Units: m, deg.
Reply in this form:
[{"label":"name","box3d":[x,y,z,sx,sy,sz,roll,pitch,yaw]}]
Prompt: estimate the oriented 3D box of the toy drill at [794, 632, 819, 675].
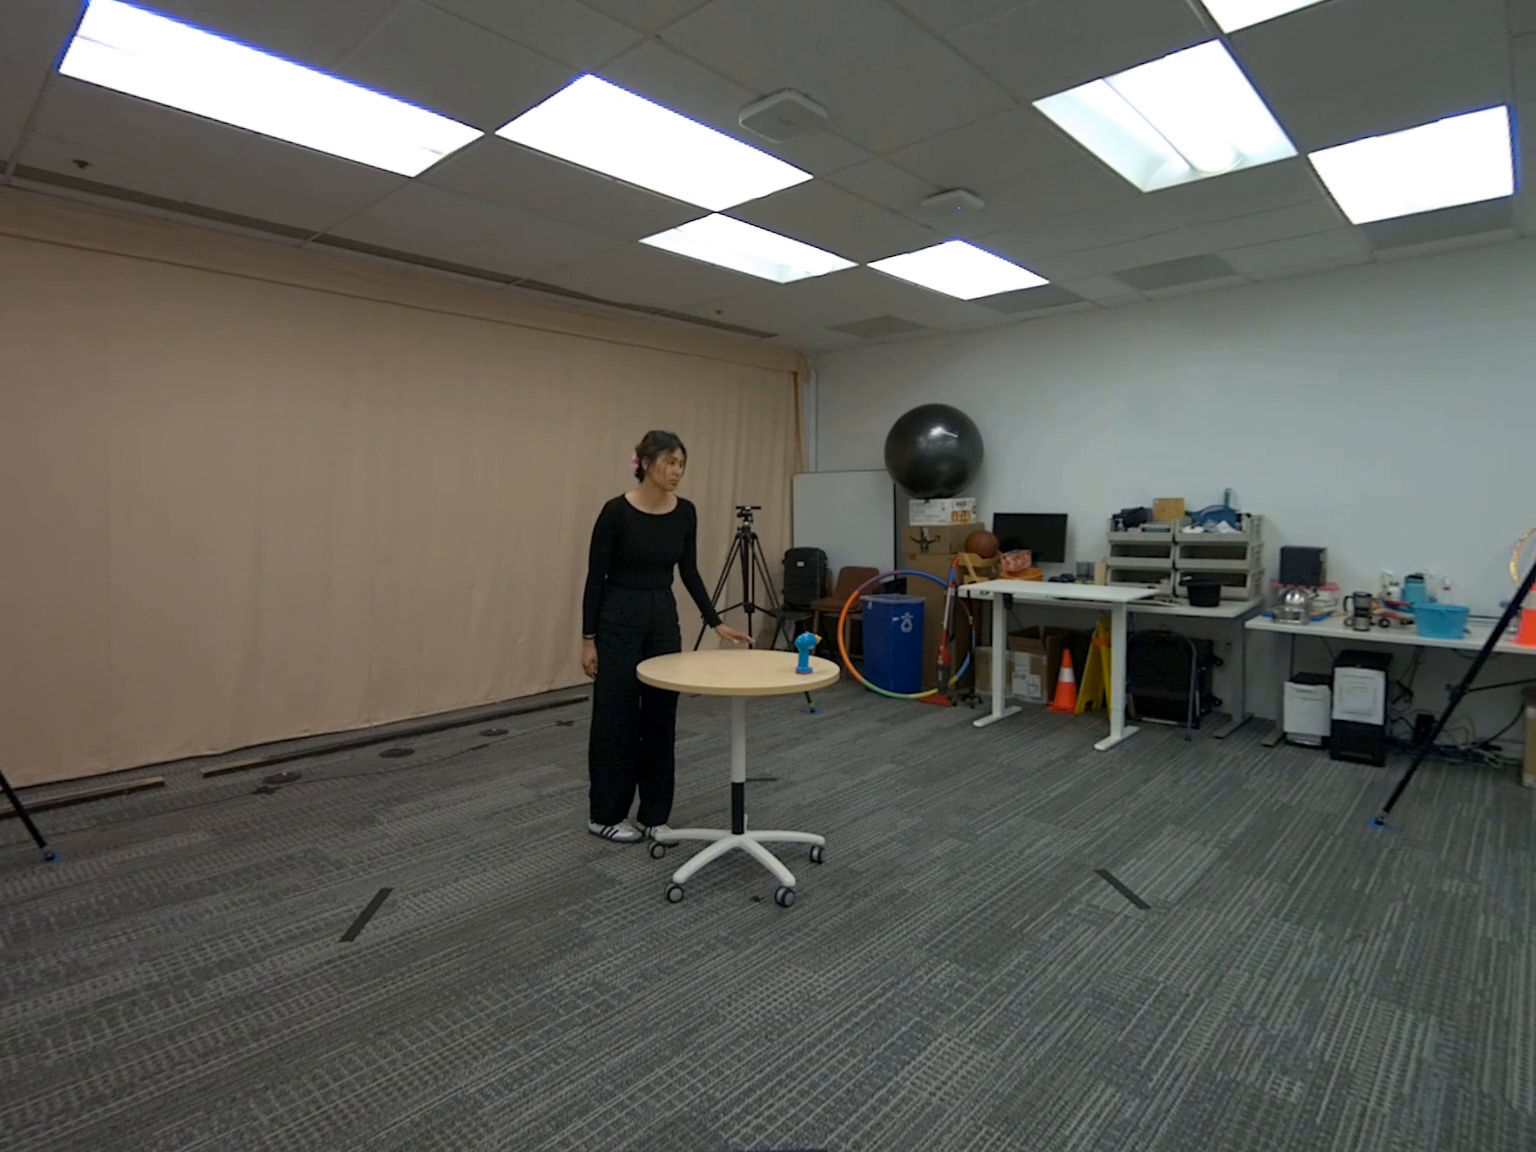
[{"label":"toy drill","box3d":[0.157,0.280,3.100,0.063,0.146,0.165,2,3,33]}]
